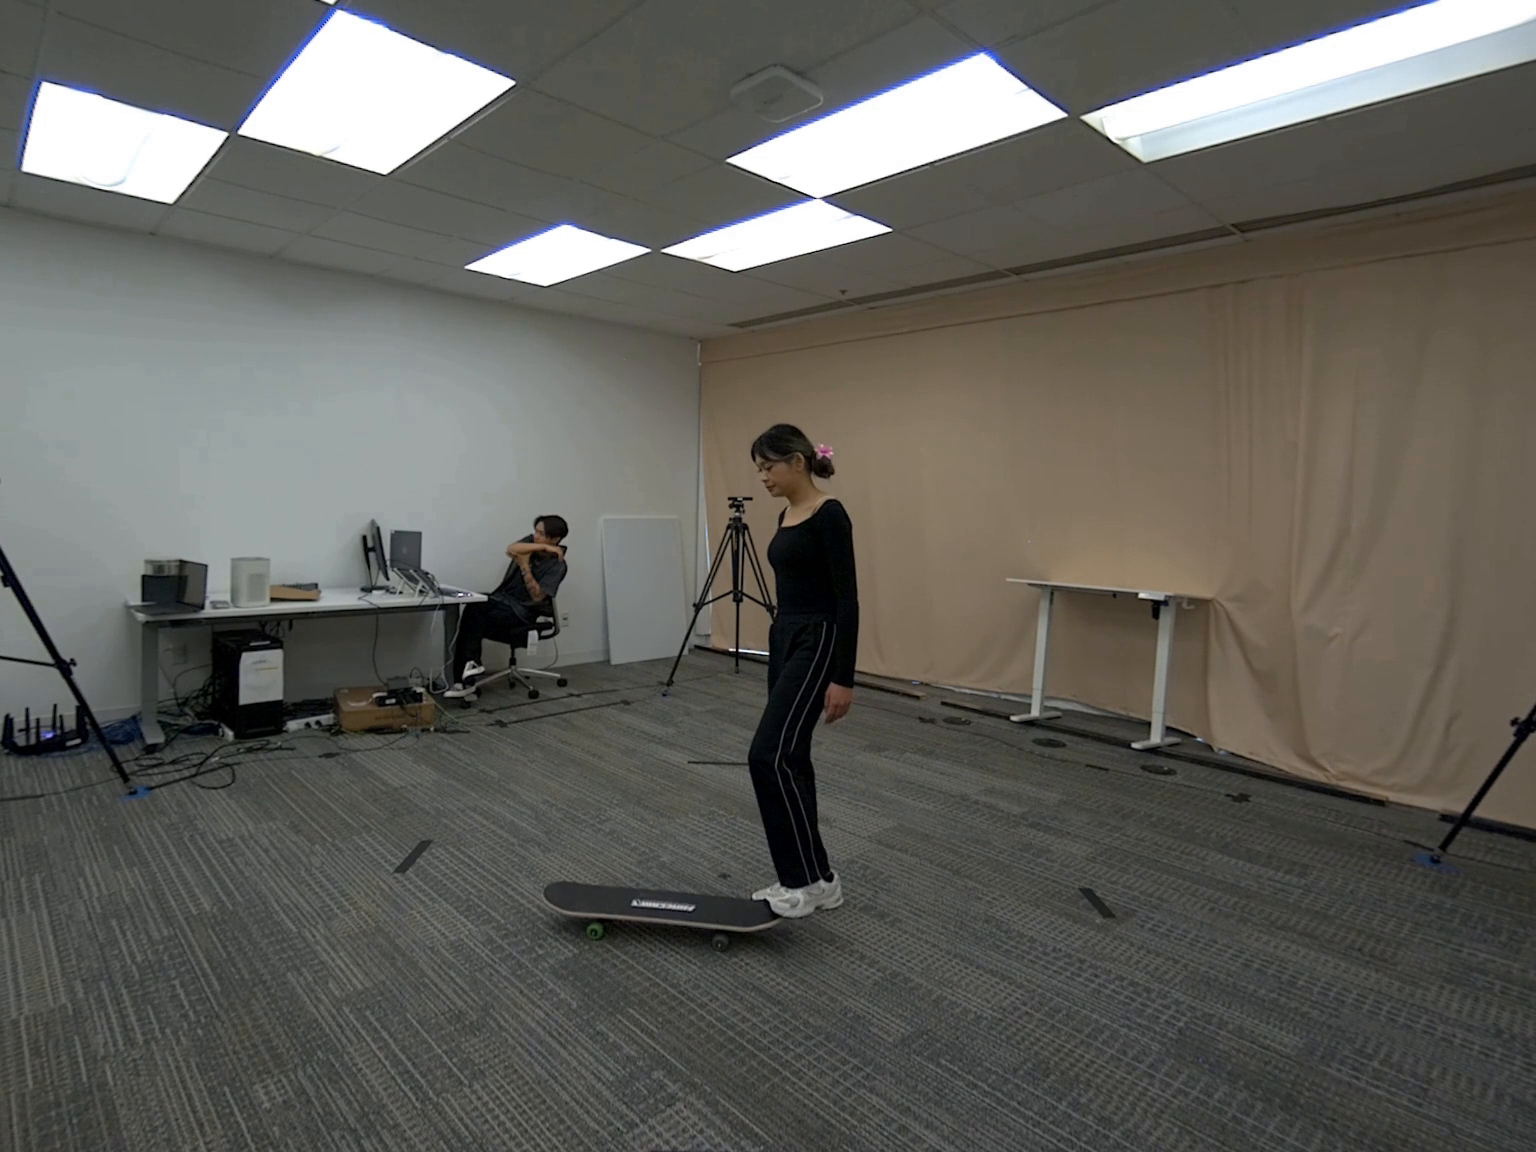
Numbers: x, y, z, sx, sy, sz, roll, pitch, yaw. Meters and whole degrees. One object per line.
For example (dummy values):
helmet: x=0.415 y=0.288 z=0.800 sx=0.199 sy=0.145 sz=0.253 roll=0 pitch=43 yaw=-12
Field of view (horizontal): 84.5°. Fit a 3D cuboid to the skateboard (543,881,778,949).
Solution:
skateboard: x=-0.337 y=1.078 z=2.684 sx=0.790 sy=0.110 sz=0.193 roll=2 pitch=4 yaw=7
